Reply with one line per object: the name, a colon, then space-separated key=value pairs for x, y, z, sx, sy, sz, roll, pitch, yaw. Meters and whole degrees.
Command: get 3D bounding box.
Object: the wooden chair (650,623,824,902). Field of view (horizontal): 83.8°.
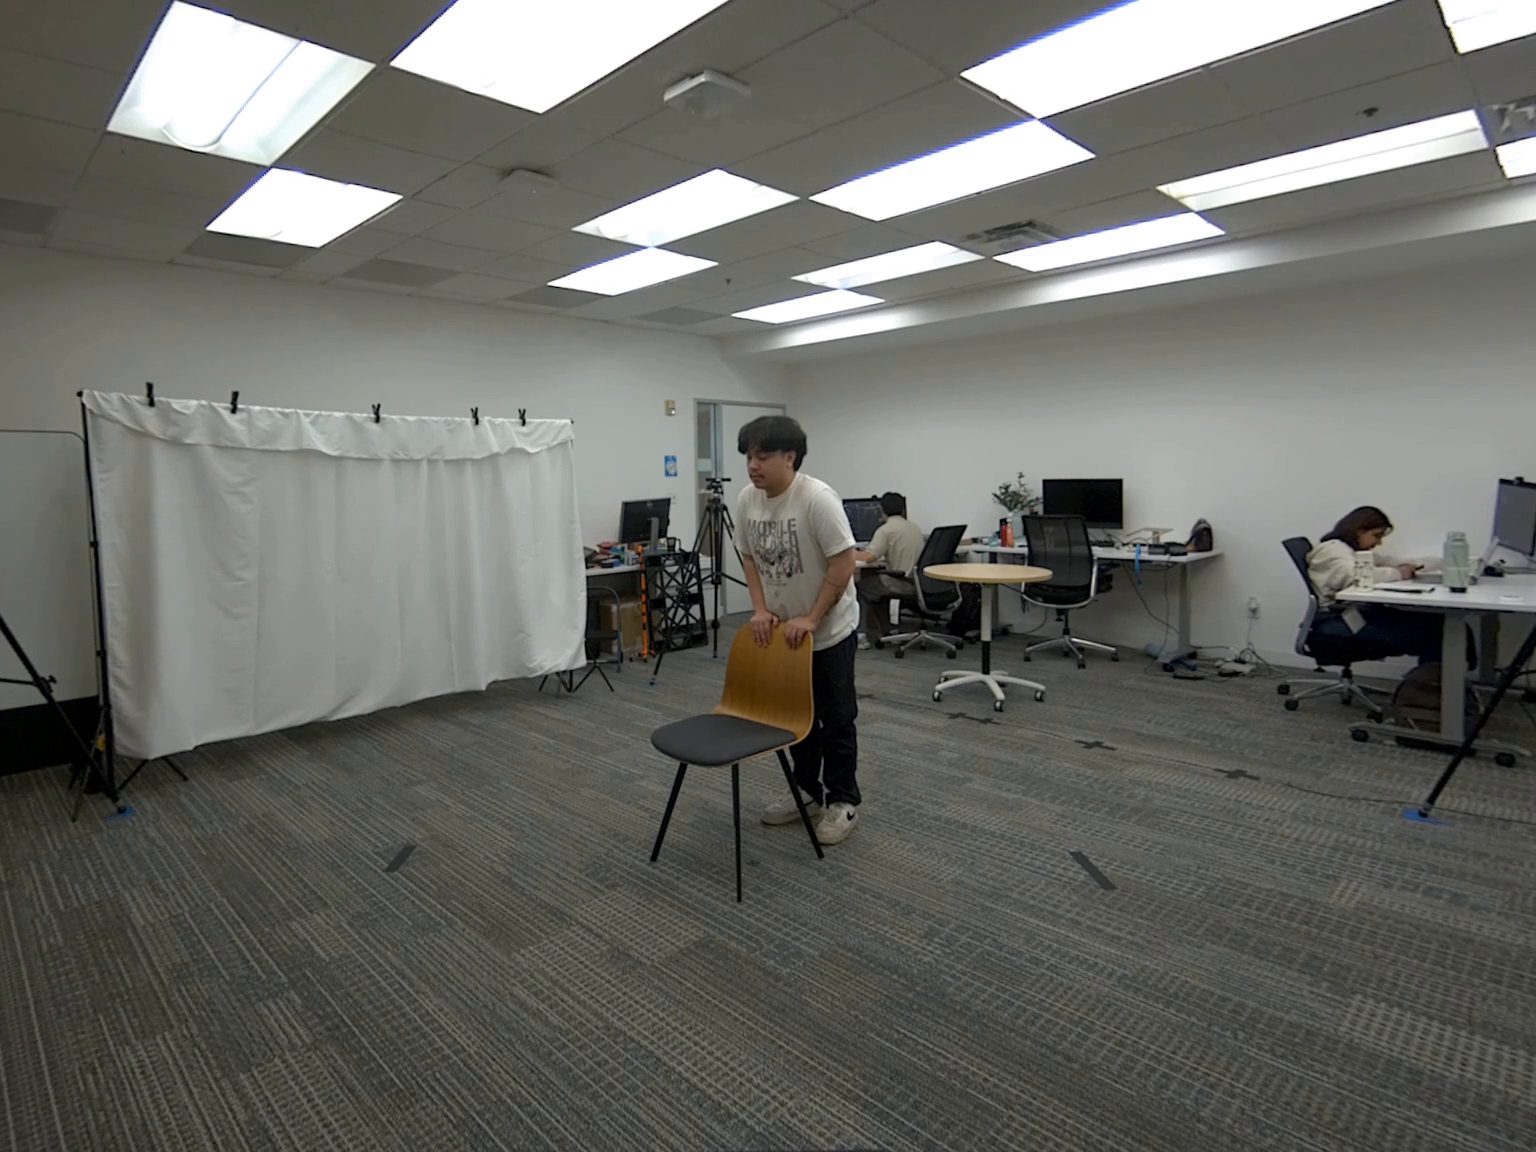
wooden chair: x=-0.123 y=0.619 z=3.093 sx=0.493 sy=0.877 sz=0.508 roll=3 pitch=2 yaw=43
